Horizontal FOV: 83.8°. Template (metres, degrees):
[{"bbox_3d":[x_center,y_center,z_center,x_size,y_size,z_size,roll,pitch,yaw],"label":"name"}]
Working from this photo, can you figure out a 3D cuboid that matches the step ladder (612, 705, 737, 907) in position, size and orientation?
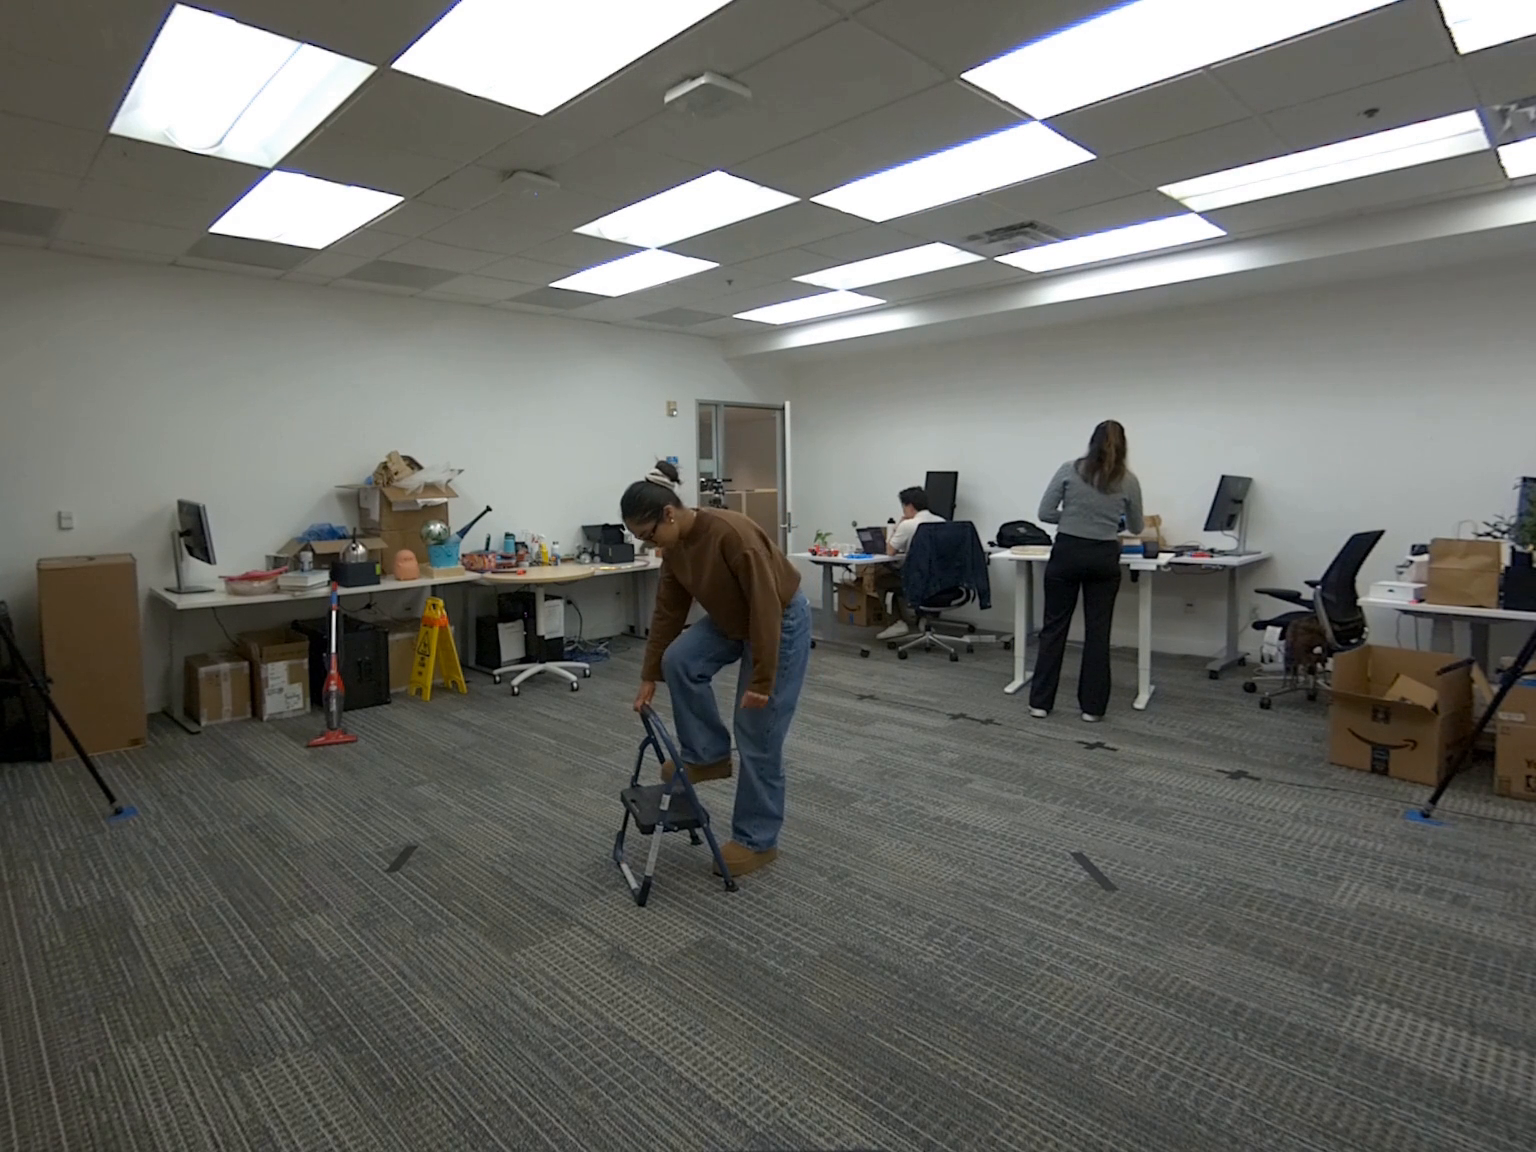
[{"bbox_3d":[-0.342,0.756,3.028,0.343,0.604,0.440,-2,5,-21],"label":"step ladder"}]
